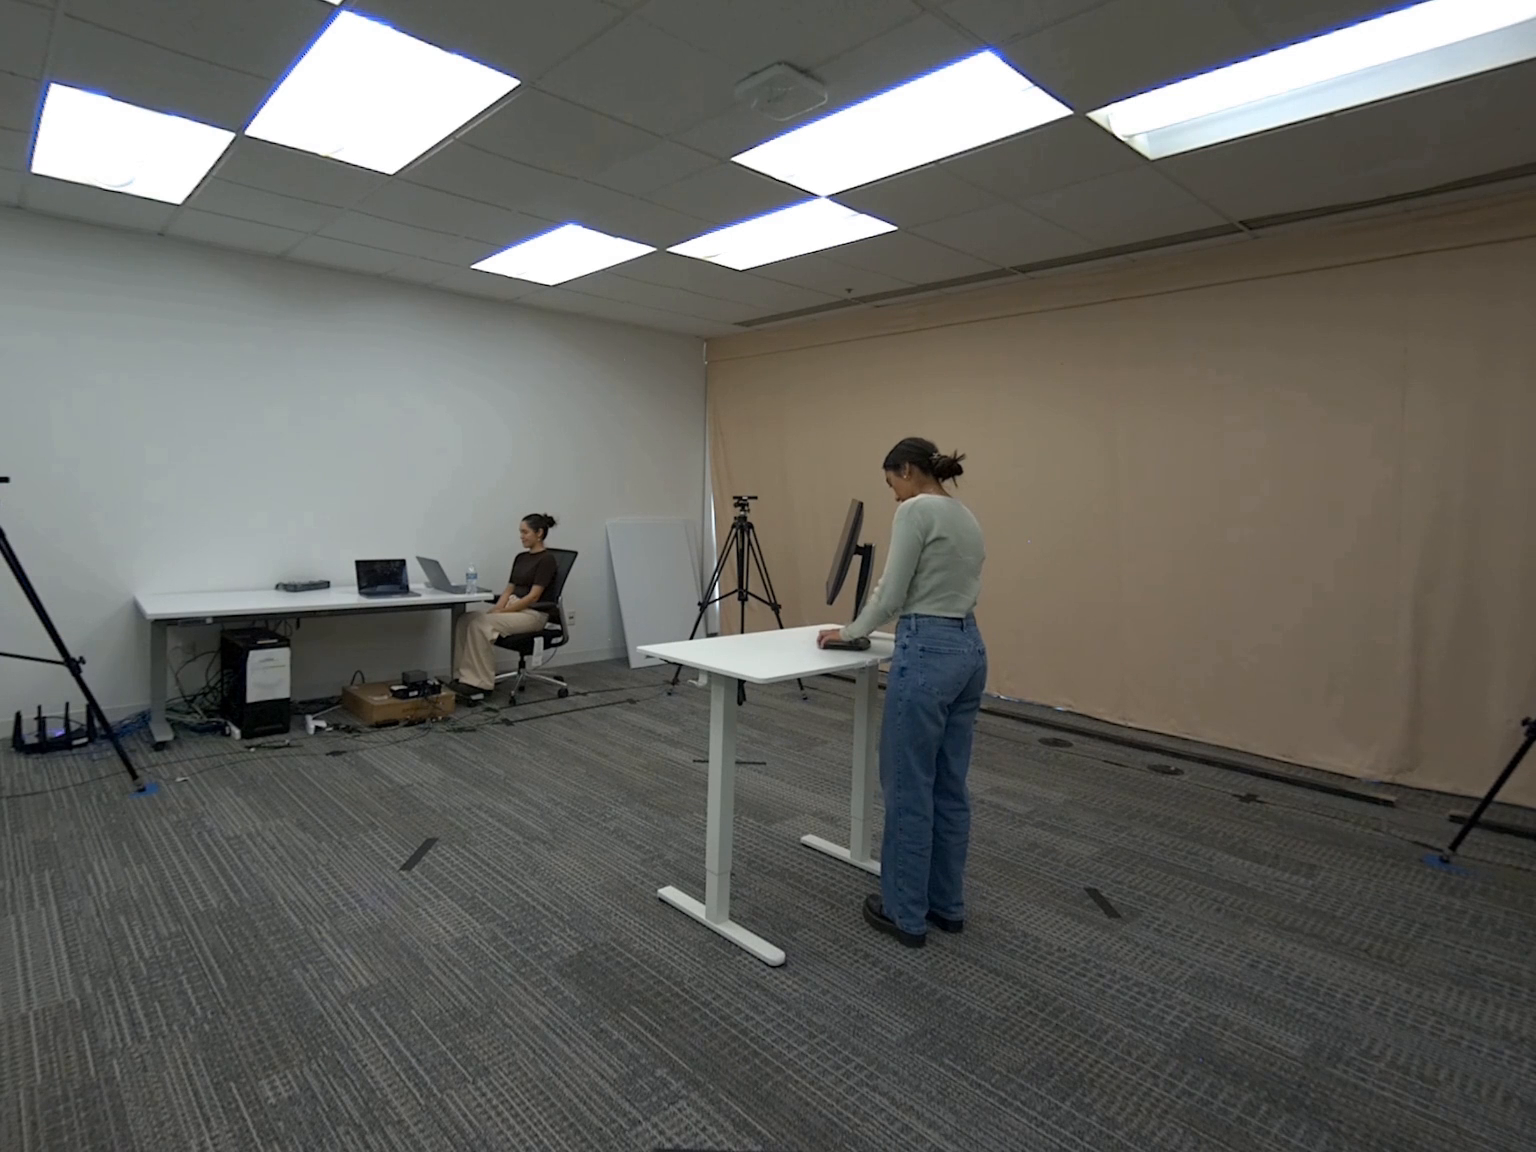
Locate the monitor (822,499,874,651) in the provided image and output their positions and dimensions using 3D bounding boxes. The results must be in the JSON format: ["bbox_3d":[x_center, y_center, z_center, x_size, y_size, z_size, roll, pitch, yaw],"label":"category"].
[{"bbox_3d":[0.281,-0.014,2.990,0.175,0.514,0.530,0,5,3],"label":"monitor"}]
